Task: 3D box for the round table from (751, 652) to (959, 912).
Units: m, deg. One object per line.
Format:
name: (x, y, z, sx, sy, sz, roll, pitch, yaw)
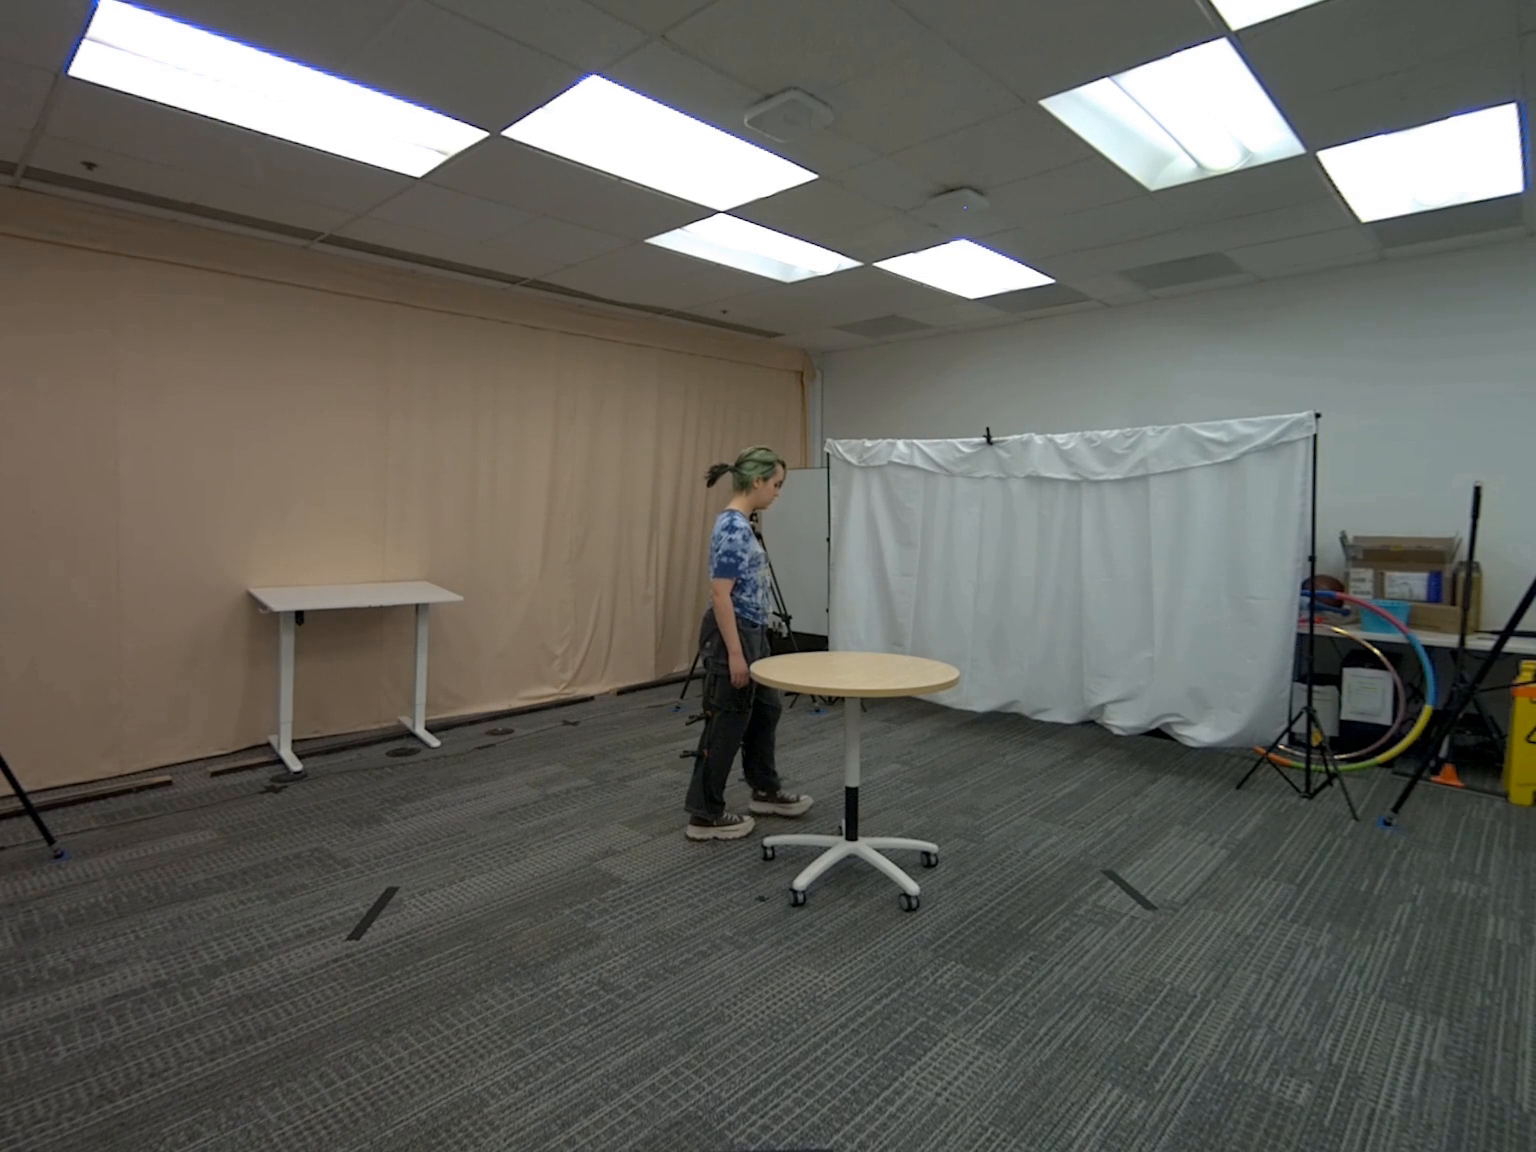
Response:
round table: (0.315, 0.739, 3.143, 0.763, 0.792, 0.766, 0, 3, -2)
